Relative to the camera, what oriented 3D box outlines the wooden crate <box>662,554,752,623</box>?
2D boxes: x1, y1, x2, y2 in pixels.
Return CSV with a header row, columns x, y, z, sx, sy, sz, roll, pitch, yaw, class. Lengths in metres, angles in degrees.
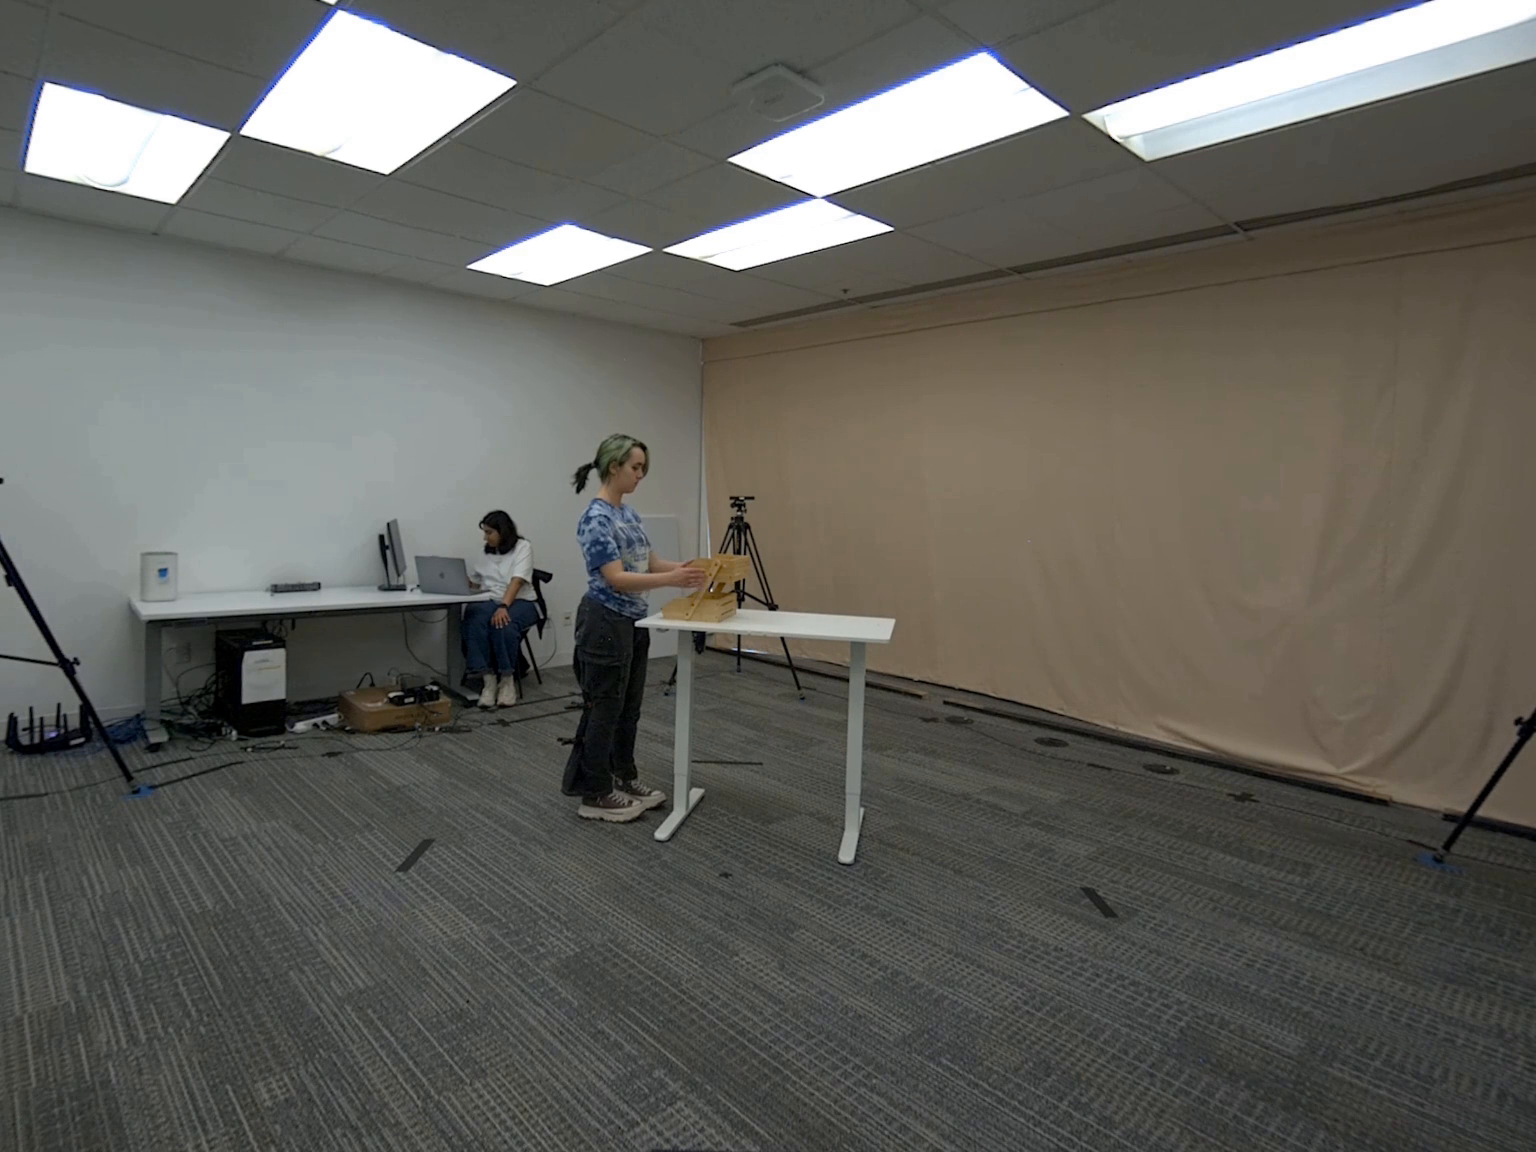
x,y,z,sx,sy,sz,roll,pitch,yaw,class
-0.276,0.038,3.586,0.305,0.272,0.322,4,4,12,wooden crate
